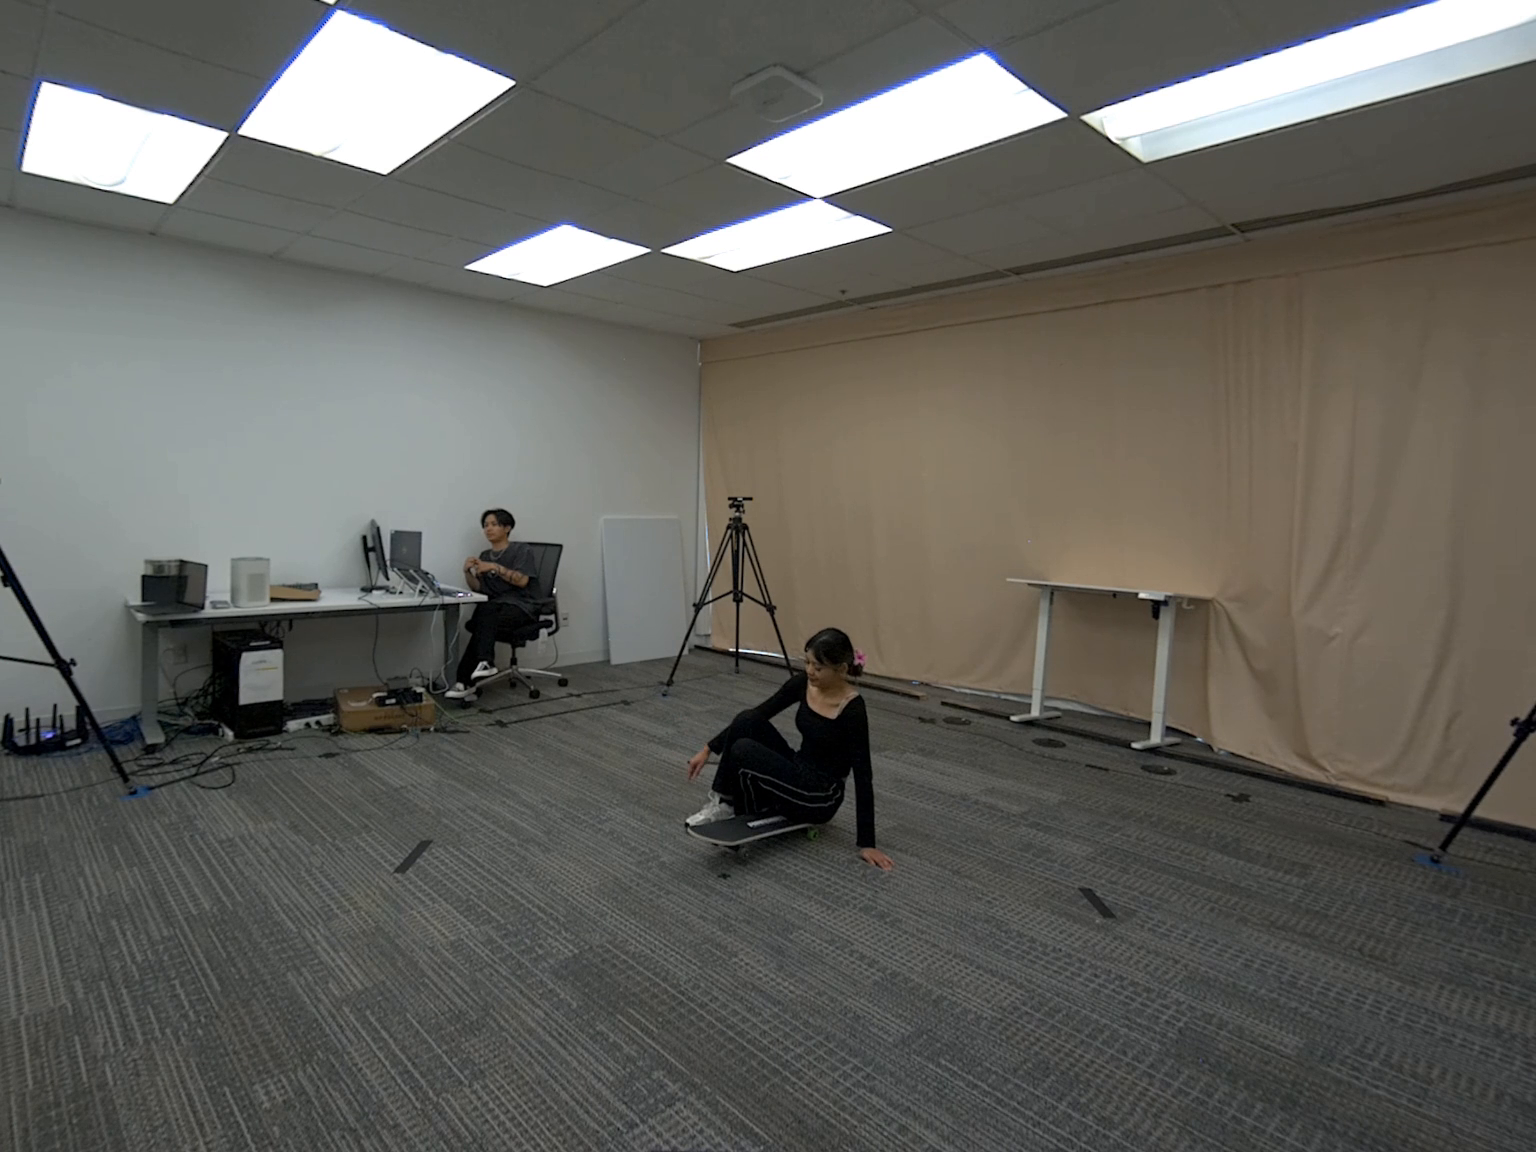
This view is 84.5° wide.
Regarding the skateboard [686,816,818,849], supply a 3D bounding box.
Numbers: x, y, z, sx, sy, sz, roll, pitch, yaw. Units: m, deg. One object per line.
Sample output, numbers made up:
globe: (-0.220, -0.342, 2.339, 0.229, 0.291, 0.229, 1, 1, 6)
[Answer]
skateboard: (-0.017, 1.020, 3.378, 0.766, 0.110, 0.199, 3, 5, -45)
